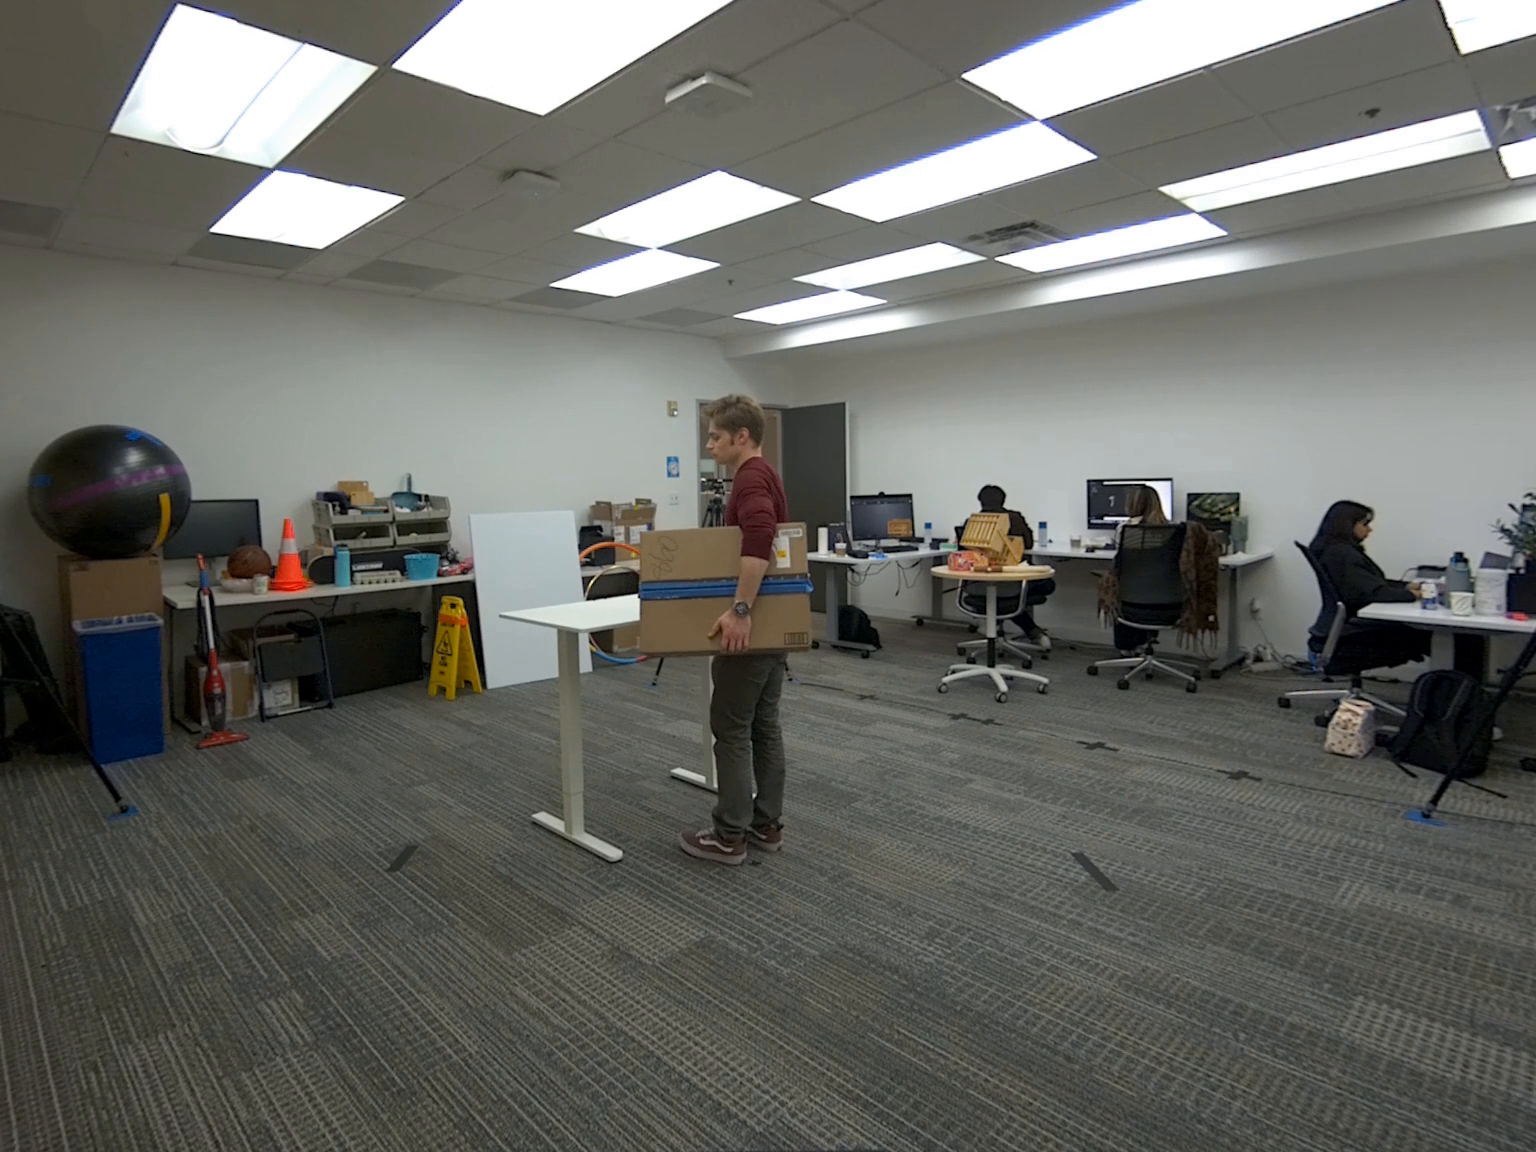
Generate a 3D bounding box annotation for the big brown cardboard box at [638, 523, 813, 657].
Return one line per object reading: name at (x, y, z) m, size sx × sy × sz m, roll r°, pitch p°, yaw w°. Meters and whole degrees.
big brown cardboard box at (-0.144, 0.056, 2.944) m, size 0.592 × 0.422 × 0.229 m, roll -3°, pitch -12°, yaw 5°
